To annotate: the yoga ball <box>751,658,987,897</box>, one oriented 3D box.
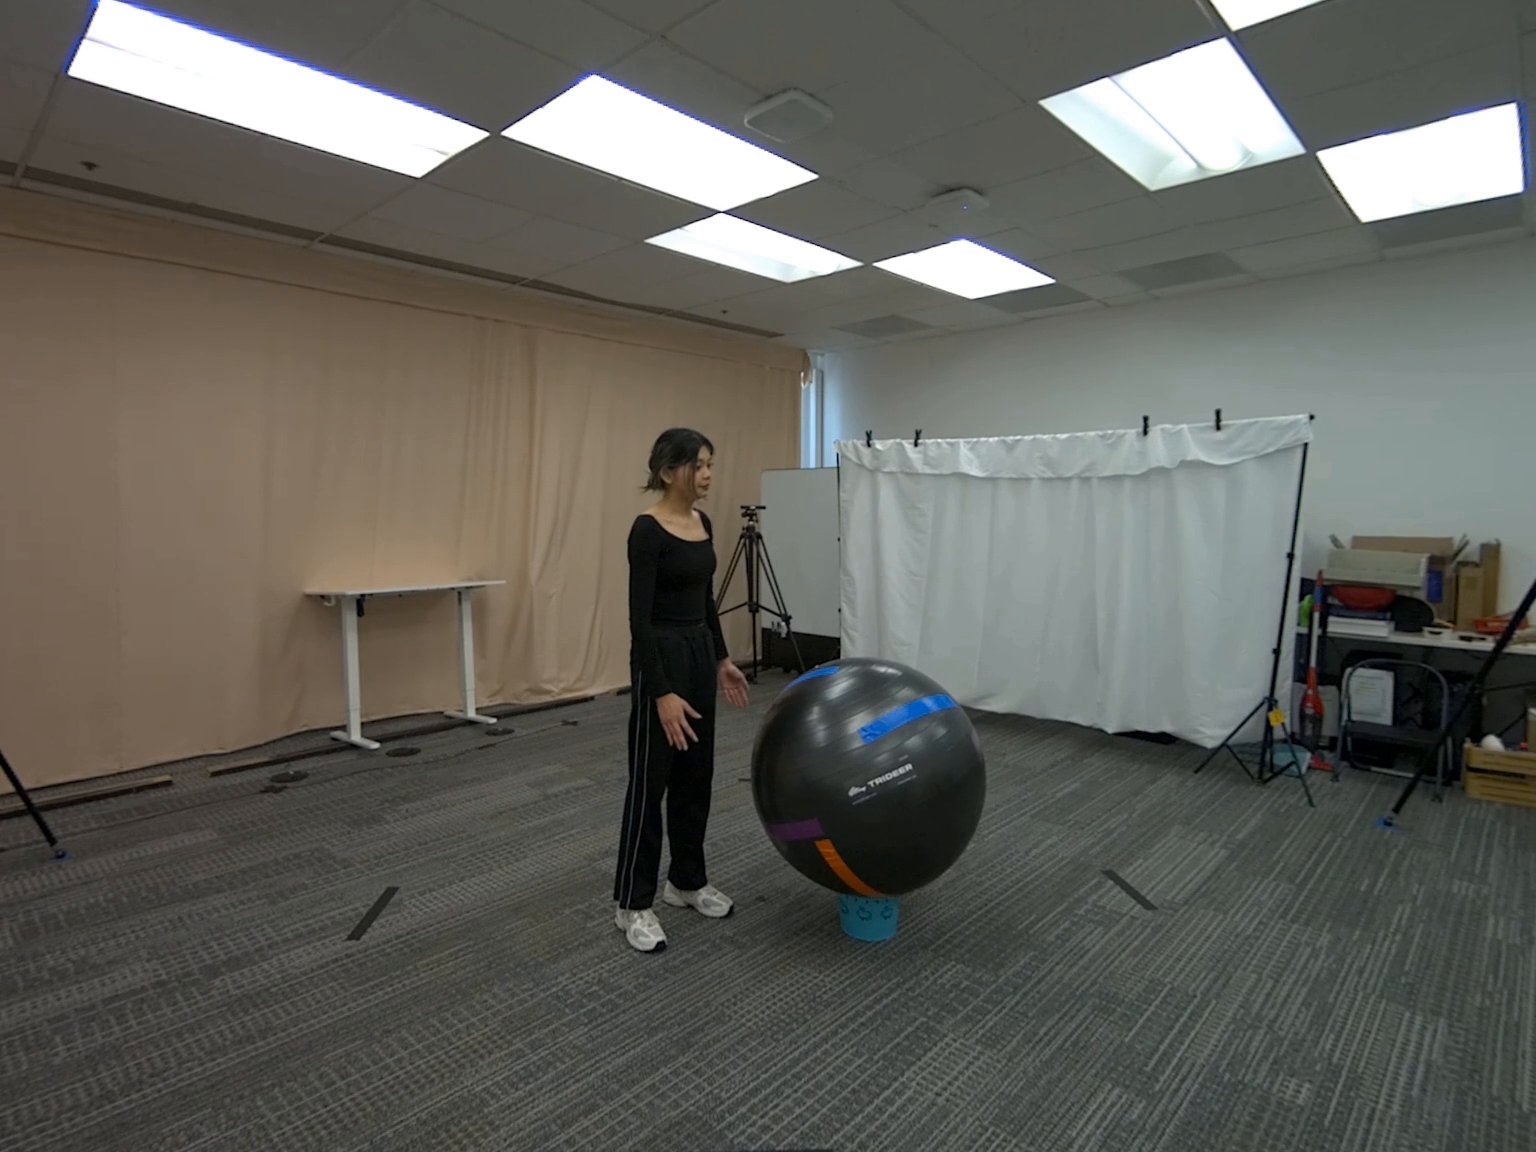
[{"bbox_3d":[0.331,0.652,2.758,0.757,0.756,0.760,0,4,-2],"label":"yoga ball"}]
